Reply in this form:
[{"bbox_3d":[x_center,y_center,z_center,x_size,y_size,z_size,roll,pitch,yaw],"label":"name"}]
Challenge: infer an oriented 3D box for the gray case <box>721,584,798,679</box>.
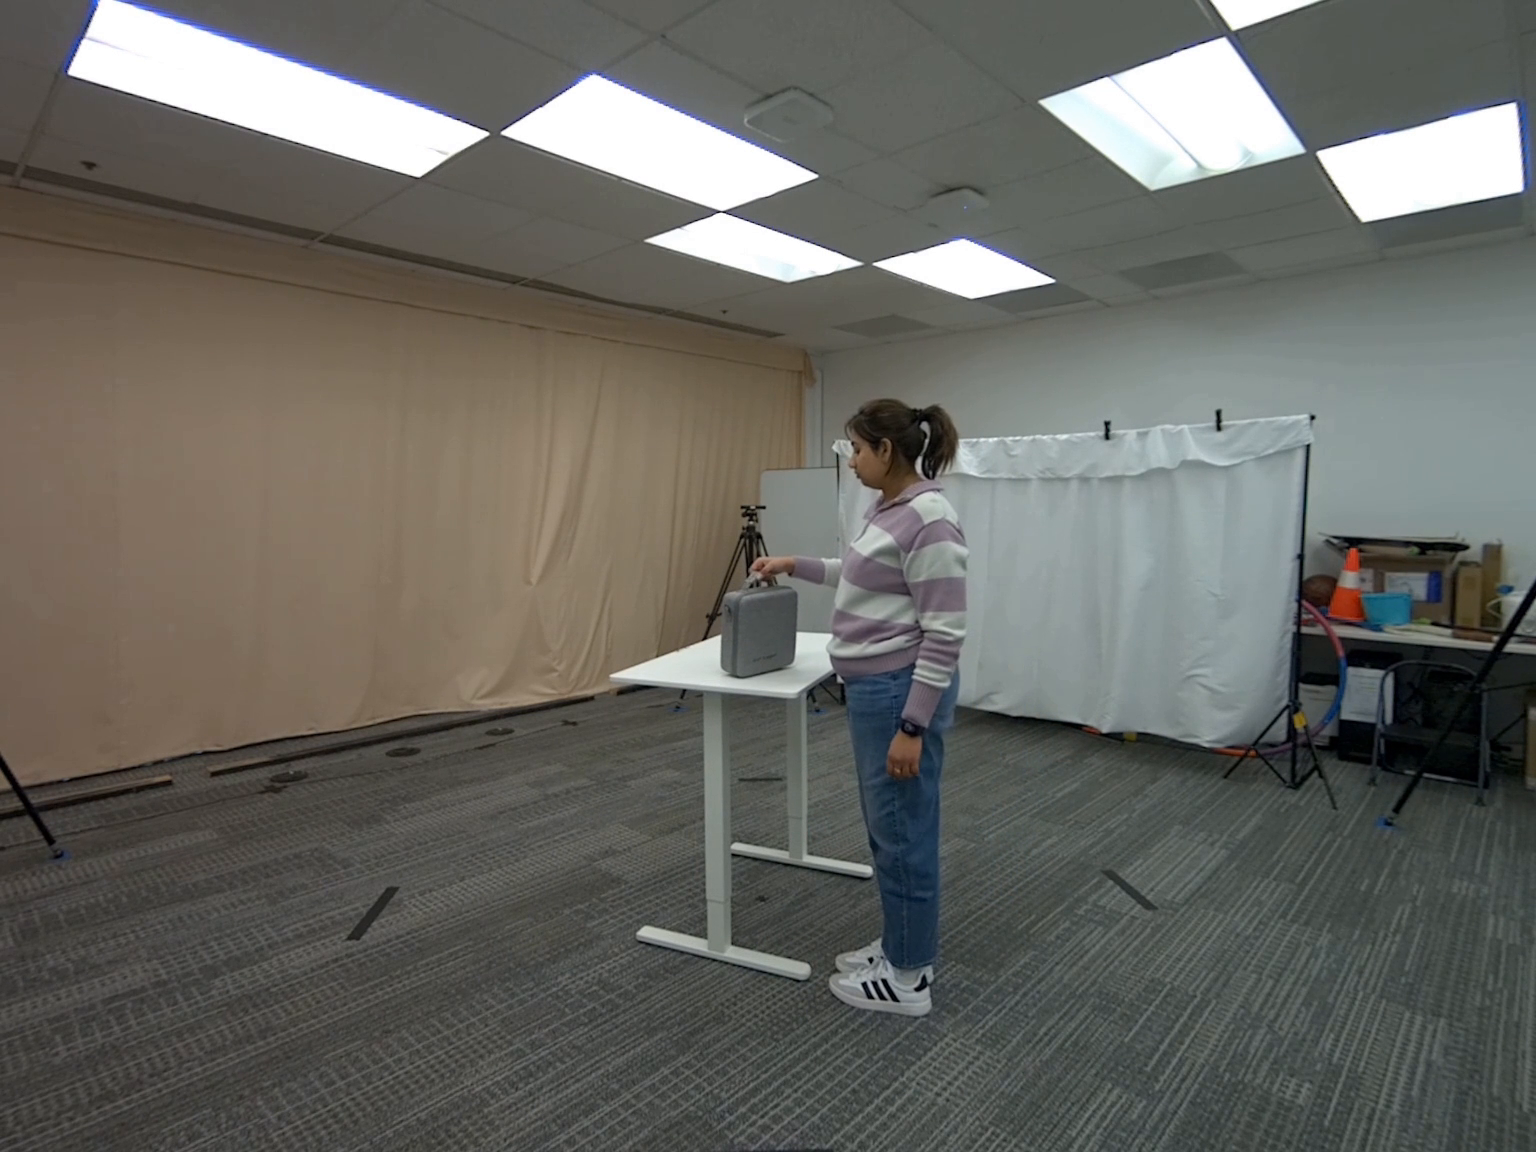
[{"bbox_3d":[-0.024,0.161,2.574,0.249,0.259,0.108,-6,13,-43],"label":"gray case"}]
